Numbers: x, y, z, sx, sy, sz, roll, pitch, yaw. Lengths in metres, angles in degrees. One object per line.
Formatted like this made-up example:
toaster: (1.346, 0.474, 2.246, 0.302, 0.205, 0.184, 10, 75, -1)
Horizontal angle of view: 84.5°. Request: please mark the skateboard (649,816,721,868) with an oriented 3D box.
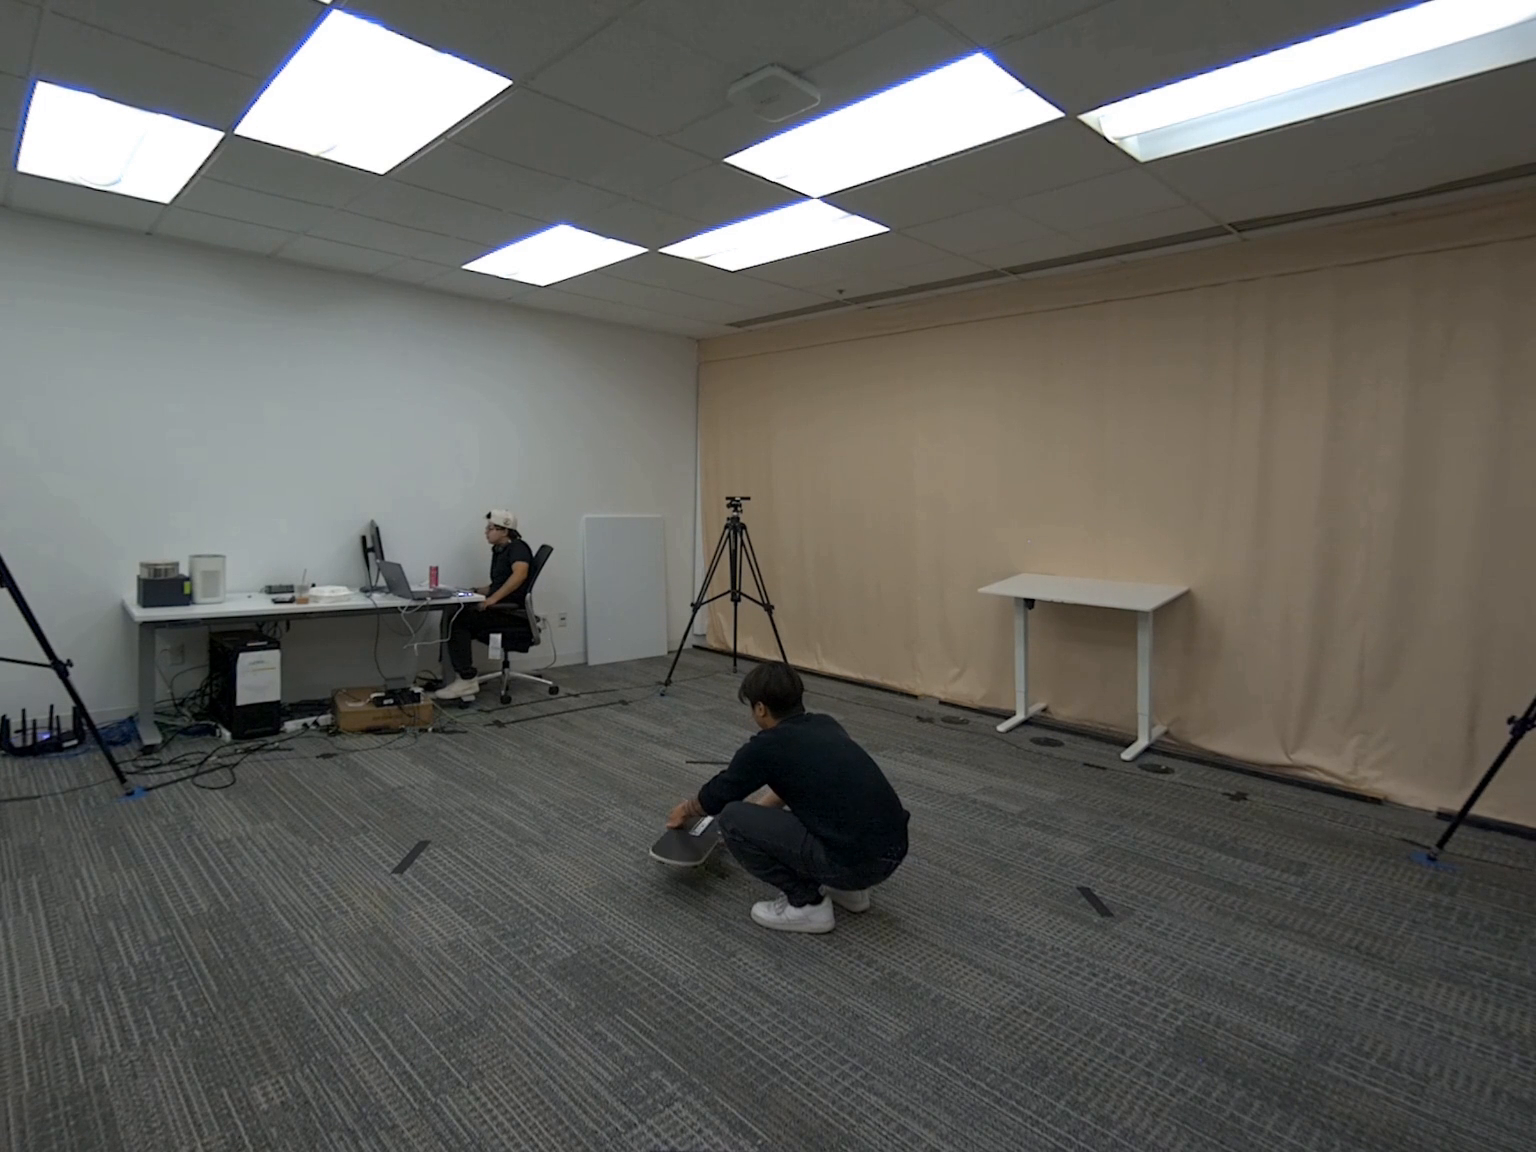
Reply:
skateboard: (-0.267, 0.991, 3.235, 0.196, 0.110, 0.778, 9, 6, 12)
